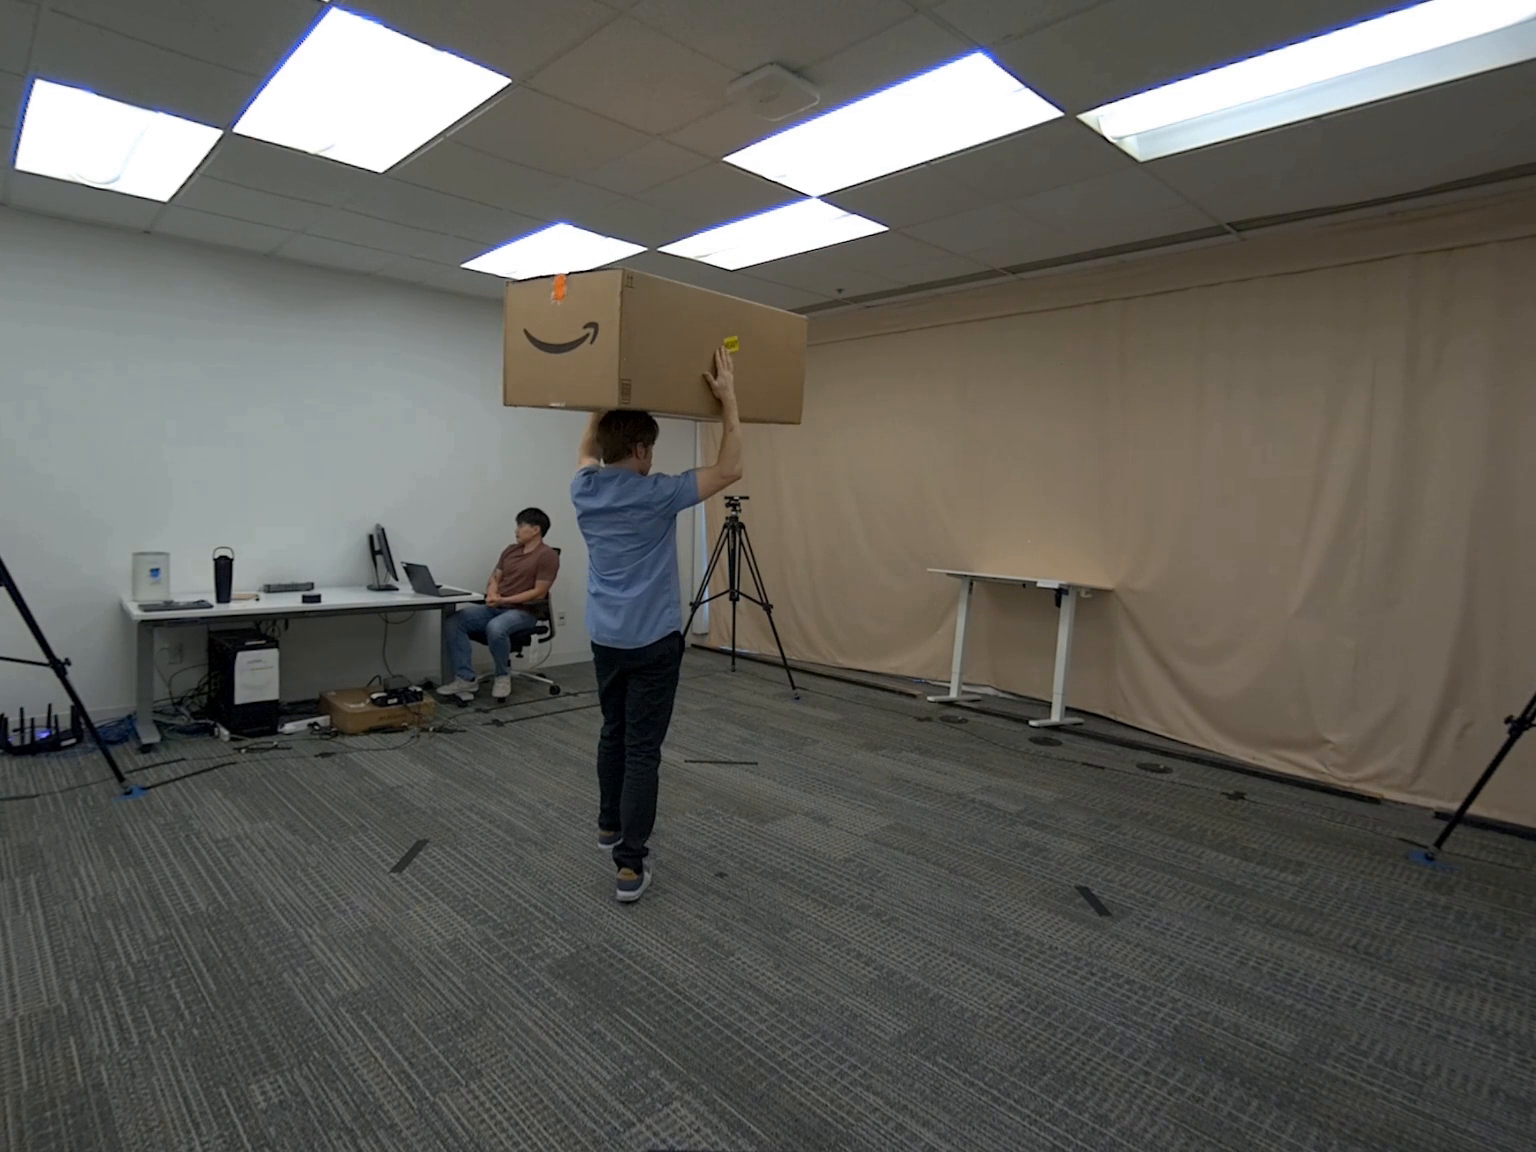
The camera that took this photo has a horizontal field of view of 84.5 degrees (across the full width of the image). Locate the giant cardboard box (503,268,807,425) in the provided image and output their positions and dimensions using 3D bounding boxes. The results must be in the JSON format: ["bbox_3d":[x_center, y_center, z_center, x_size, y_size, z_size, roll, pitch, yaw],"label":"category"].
[{"bbox_3d":[-0.386,-0.809,3.120,0.592,0.424,1.005,9,10,36],"label":"giant cardboard box"}]
